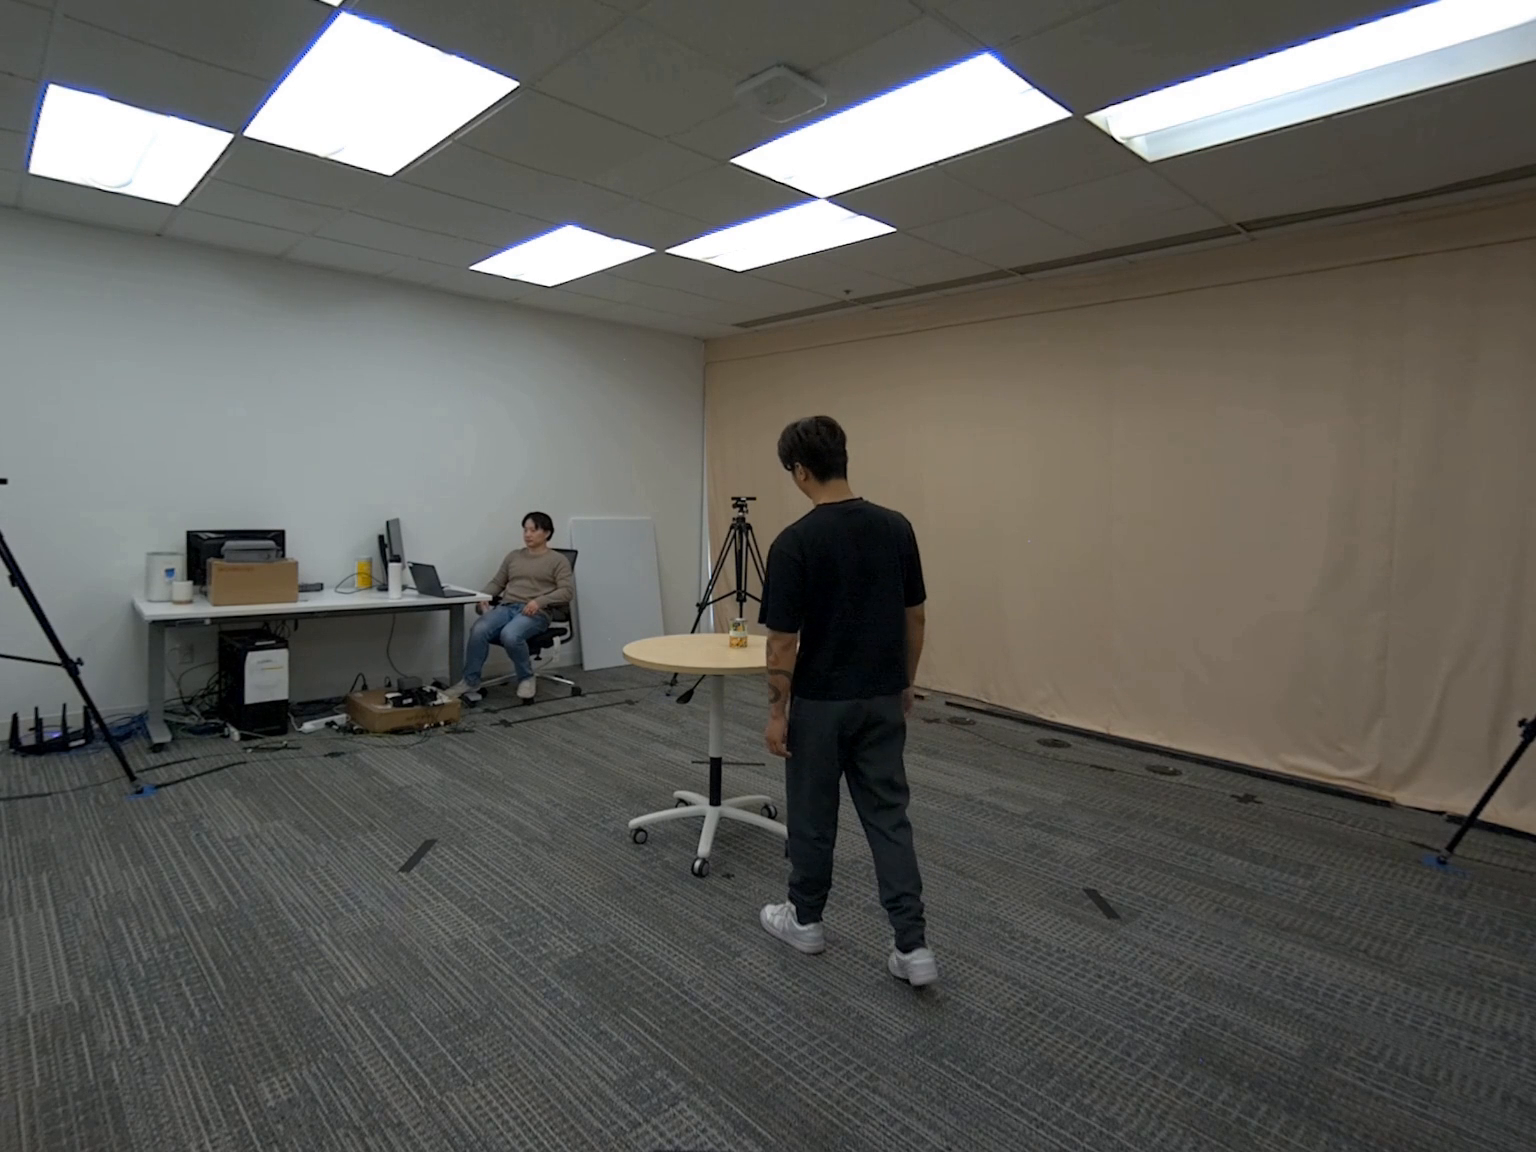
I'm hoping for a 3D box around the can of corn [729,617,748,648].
[{"bbox_3d":[-0.129,0.237,3.470,0.074,0.111,0.074,3,1,-1],"label":"can of corn"}]
